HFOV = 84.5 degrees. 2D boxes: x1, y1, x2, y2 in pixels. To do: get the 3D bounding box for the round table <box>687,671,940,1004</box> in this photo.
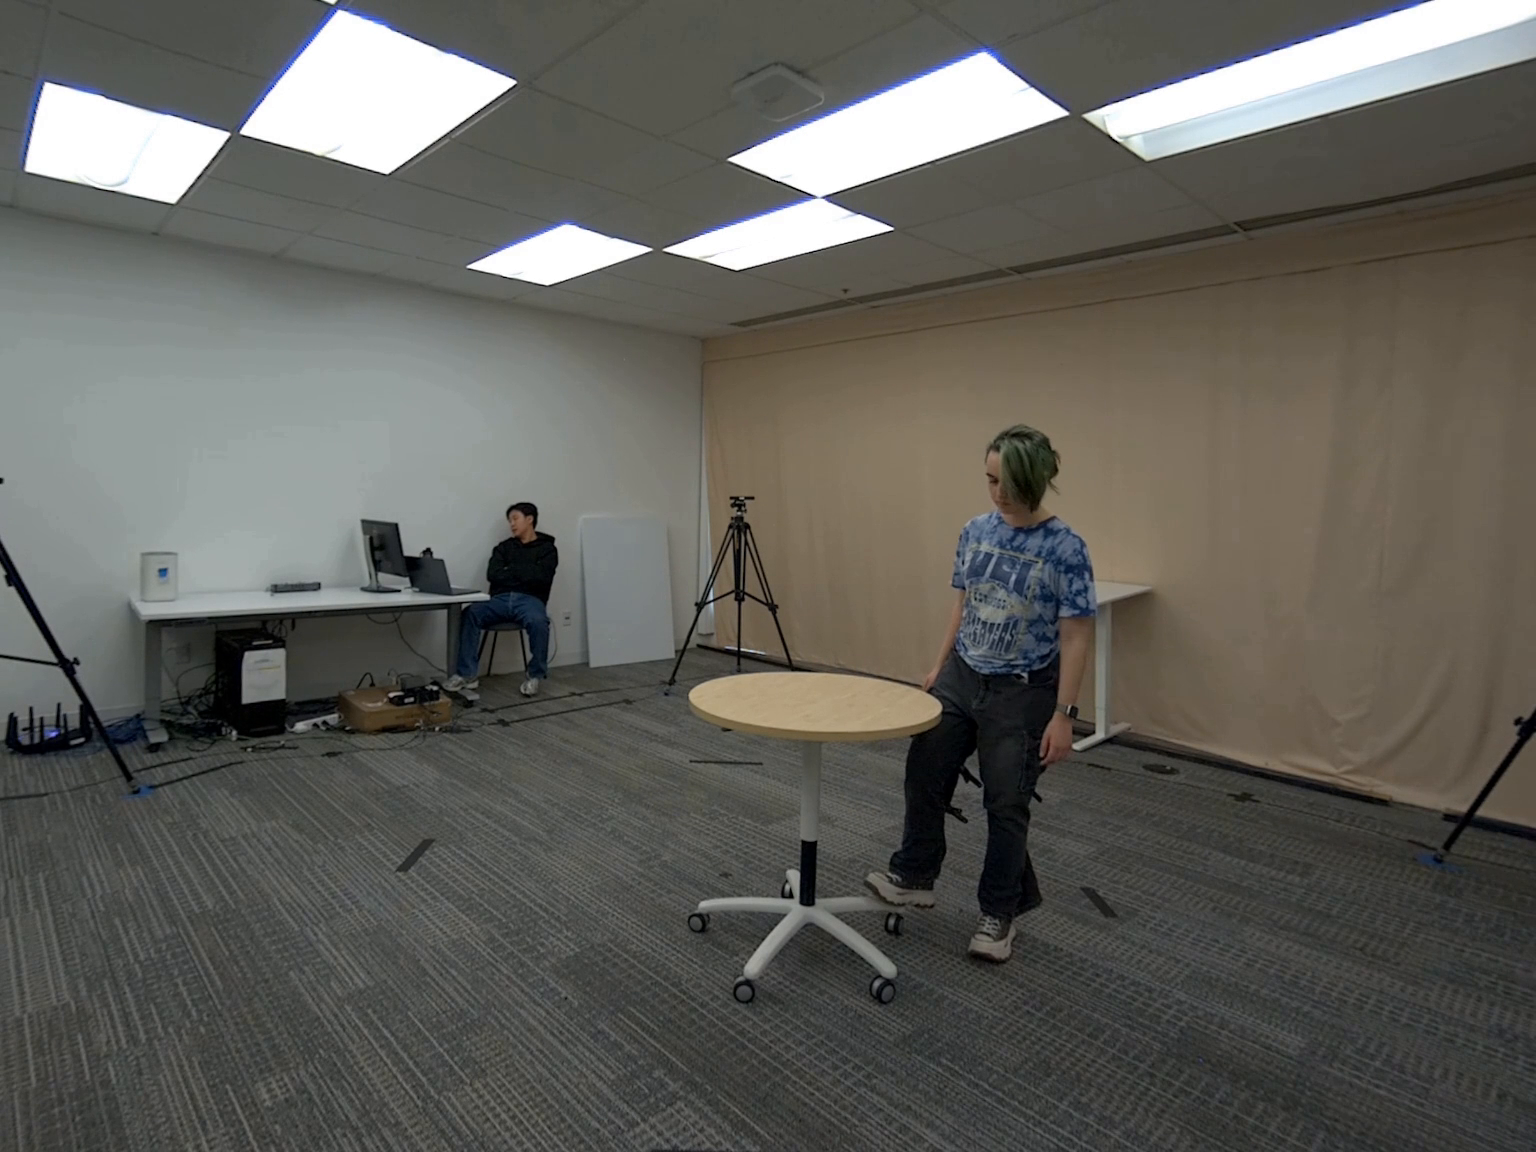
[{"bbox_3d":[0.123,0.766,2.598,0.763,0.791,0.767,2,5,-1],"label":"round table"}]
